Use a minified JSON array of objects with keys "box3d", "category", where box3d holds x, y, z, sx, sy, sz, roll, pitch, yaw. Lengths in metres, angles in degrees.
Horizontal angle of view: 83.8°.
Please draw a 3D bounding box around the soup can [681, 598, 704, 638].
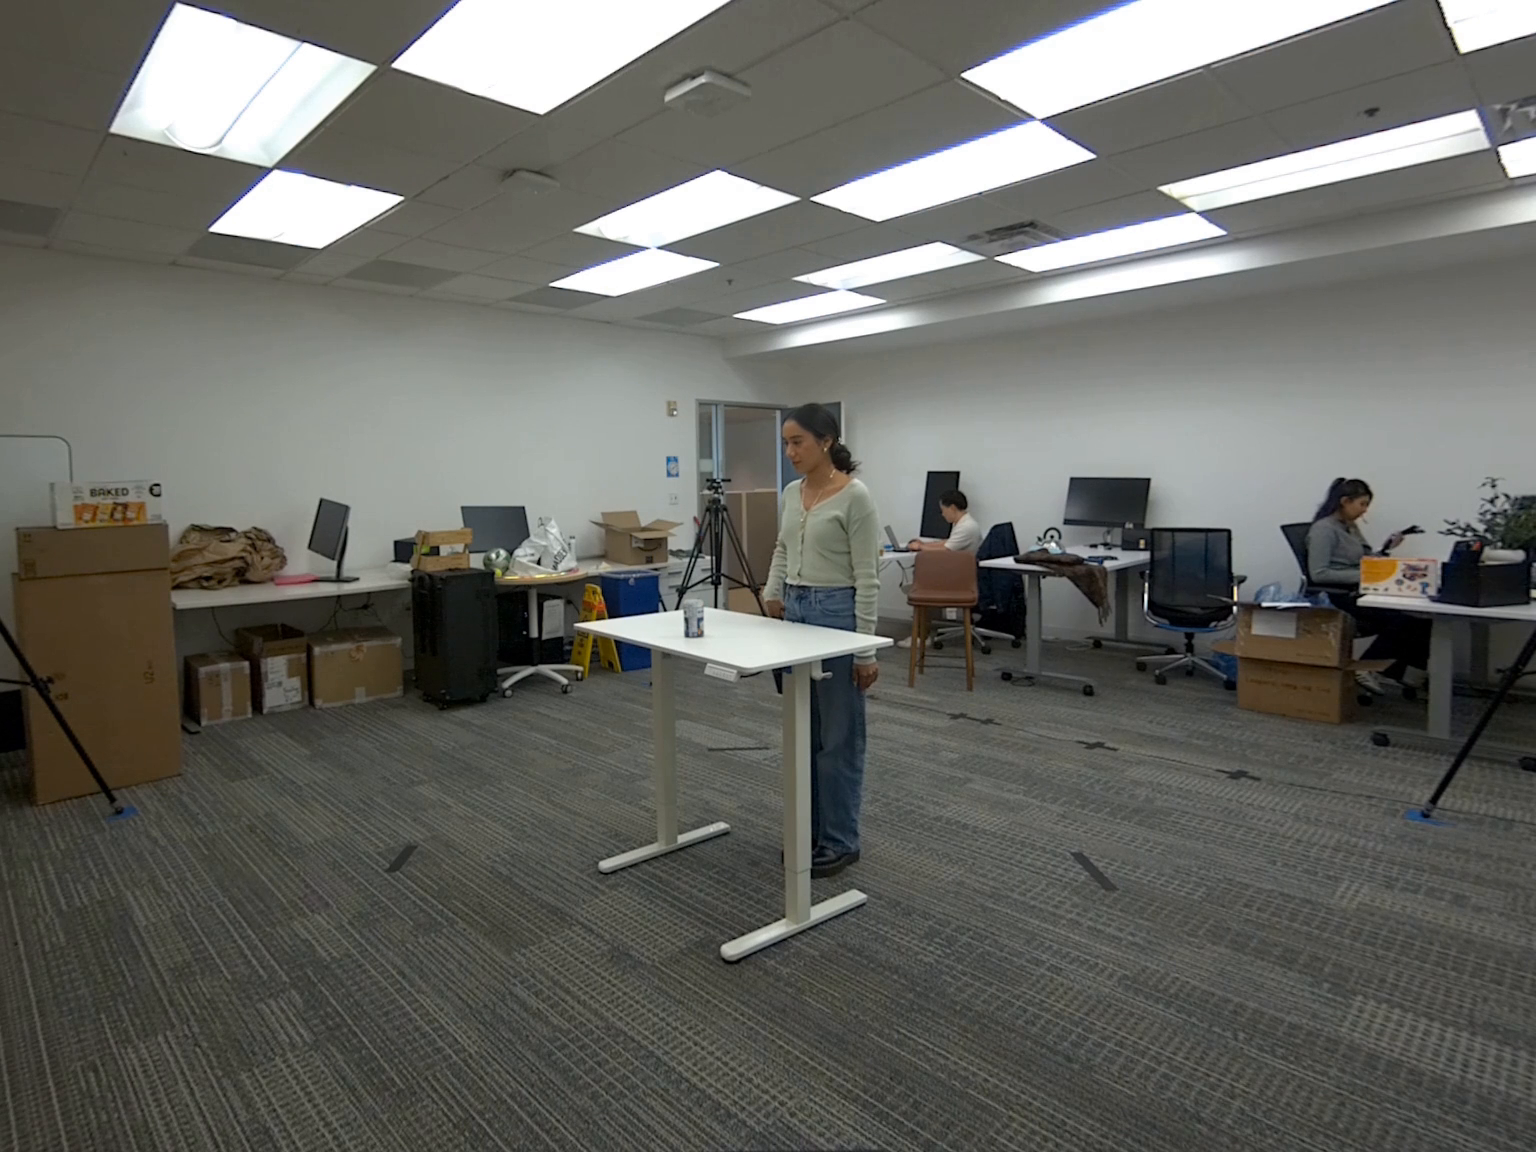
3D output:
[{"box3d":[-0.242,0.142,2.798,0.067,0.121,0.067,0,4,-2],"category":"soup can"}]
